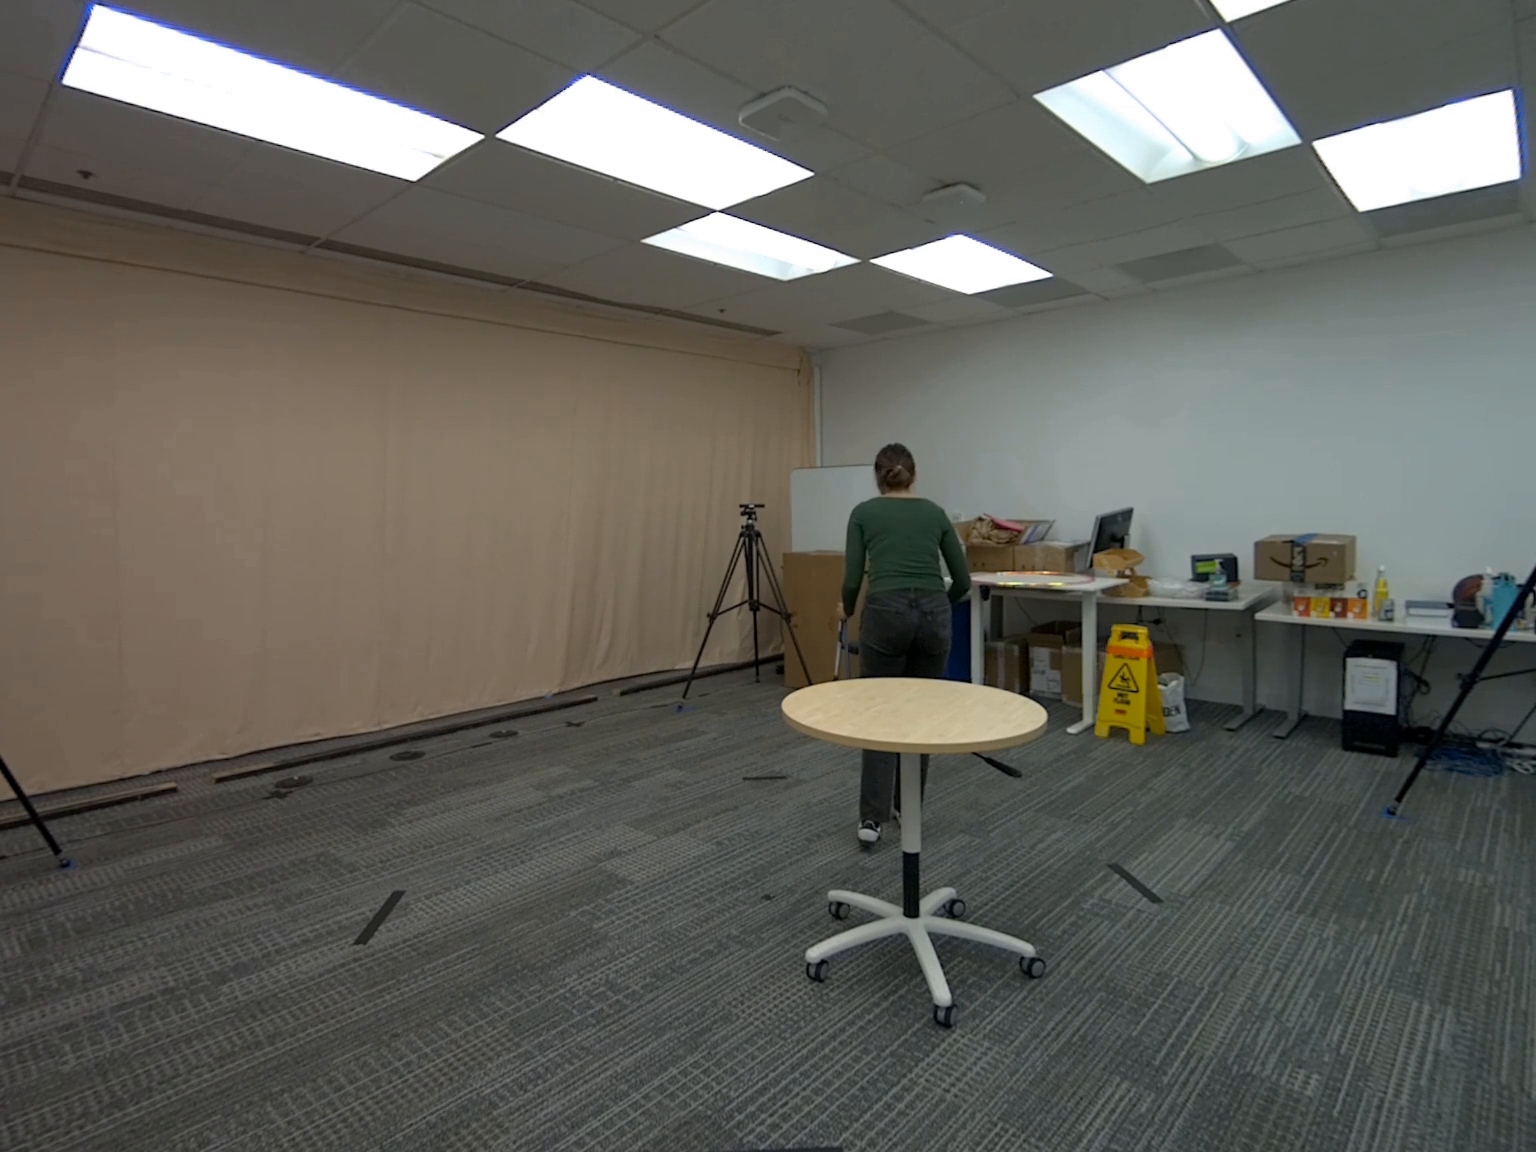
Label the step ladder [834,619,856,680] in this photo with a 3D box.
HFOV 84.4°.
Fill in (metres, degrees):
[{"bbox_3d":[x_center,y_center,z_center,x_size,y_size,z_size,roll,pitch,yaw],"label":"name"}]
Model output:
[{"bbox_3d":[0.554,0.280,3.870,0.428,0.606,0.351,3,0,-5],"label":"step ladder"}]
